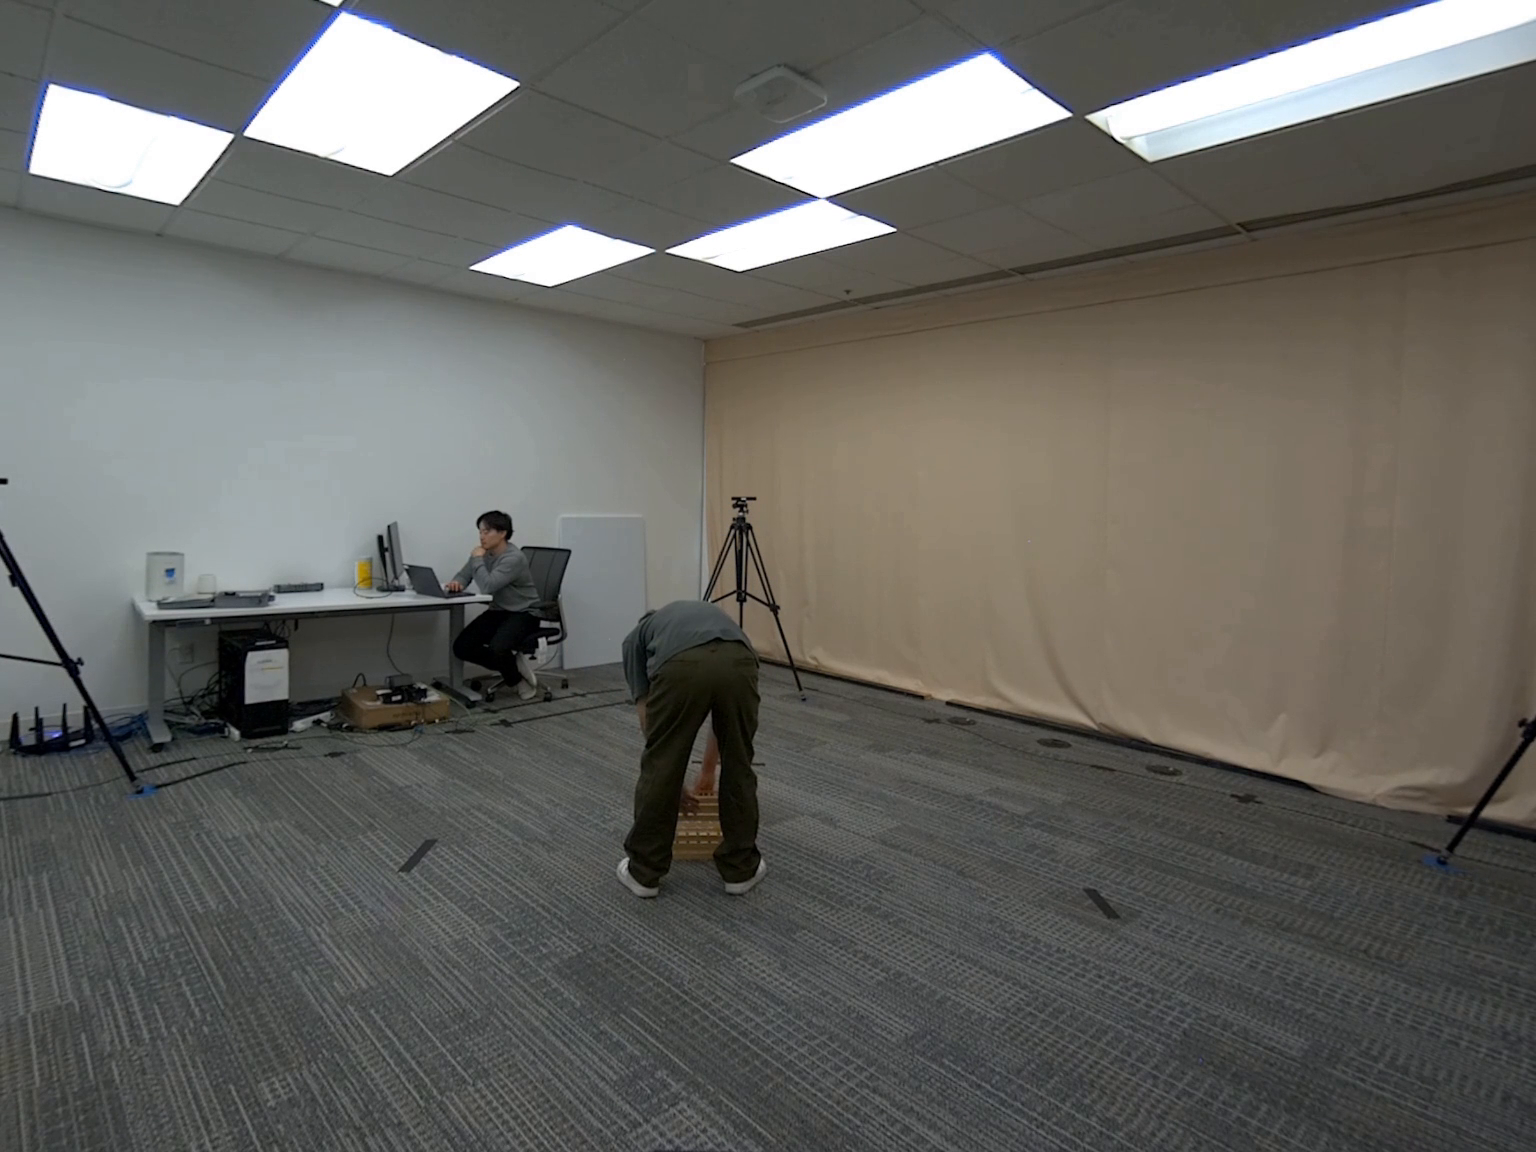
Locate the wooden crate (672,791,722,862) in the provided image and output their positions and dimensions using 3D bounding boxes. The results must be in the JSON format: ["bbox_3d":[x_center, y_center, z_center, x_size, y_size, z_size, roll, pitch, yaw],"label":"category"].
[{"bbox_3d":[-0.287,0.953,3.336,0.323,0.272,0.304,2,4,-7],"label":"wooden crate"}]
